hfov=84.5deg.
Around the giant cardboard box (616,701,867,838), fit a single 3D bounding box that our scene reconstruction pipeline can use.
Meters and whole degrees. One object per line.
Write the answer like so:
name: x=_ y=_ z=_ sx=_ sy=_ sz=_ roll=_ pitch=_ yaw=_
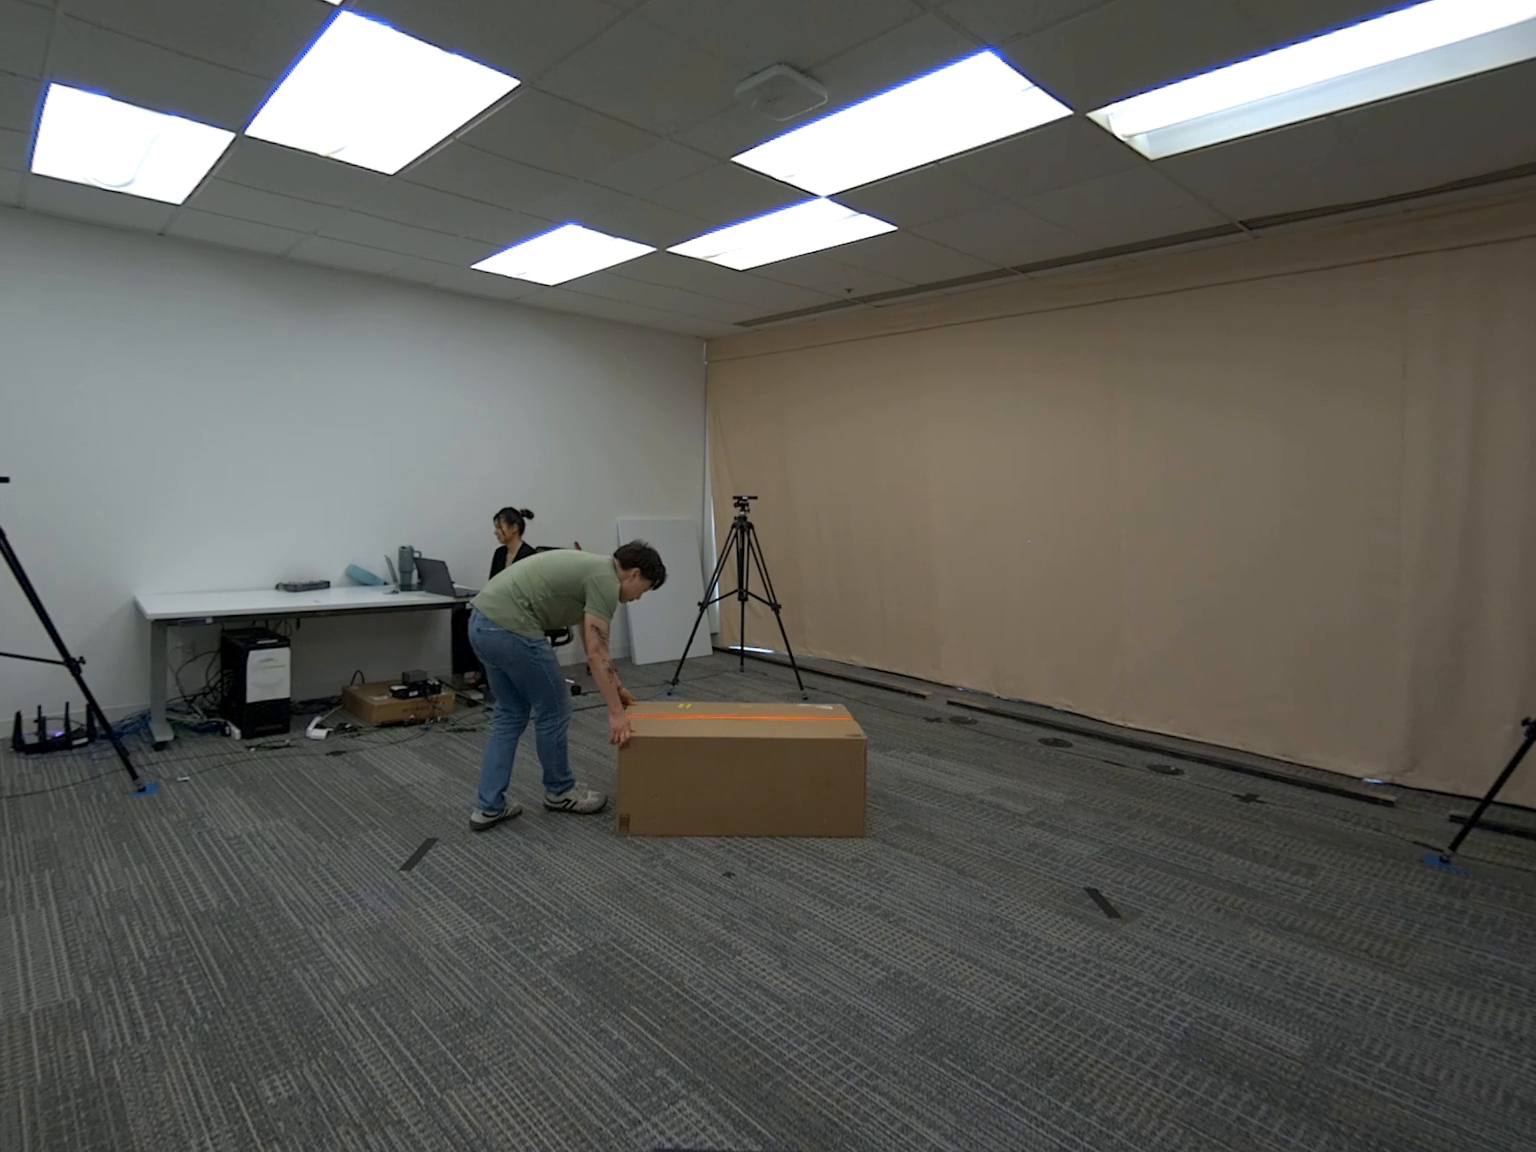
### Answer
giant cardboard box: x=-0.137 y=0.832 z=3.725 sx=1.023 sy=0.425 sz=0.580 roll=1 pitch=4 yaw=-4
